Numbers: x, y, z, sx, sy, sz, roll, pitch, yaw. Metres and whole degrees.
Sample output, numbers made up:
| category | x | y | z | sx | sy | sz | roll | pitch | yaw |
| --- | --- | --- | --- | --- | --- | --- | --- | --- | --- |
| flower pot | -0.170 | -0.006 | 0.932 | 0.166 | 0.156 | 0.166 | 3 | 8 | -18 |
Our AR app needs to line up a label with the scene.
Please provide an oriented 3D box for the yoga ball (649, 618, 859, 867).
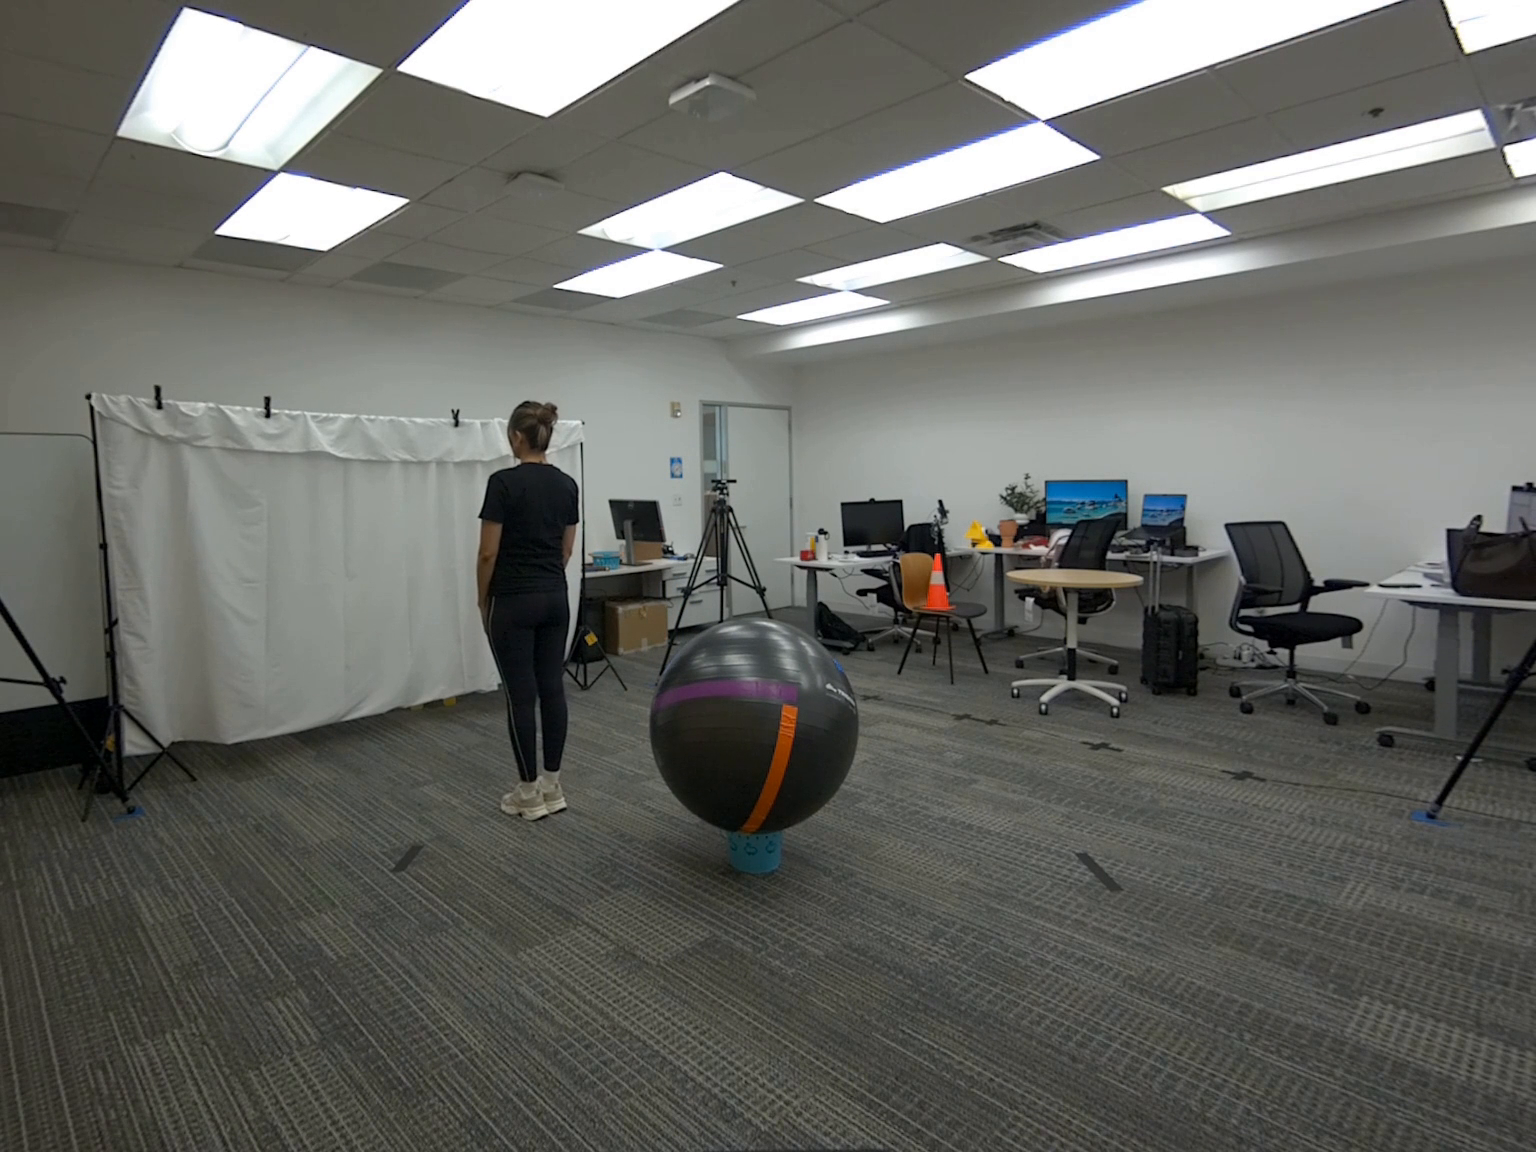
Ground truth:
| category | x | y | z | sx | sy | sz | roll | pitch | yaw |
| --- | --- | --- | --- | --- | --- | --- | --- | --- | --- |
| yoga ball | -0.050 | 0.537 | 3.104 | 0.757 | 0.755 | 0.762 | -1 | 5 | -2 |
